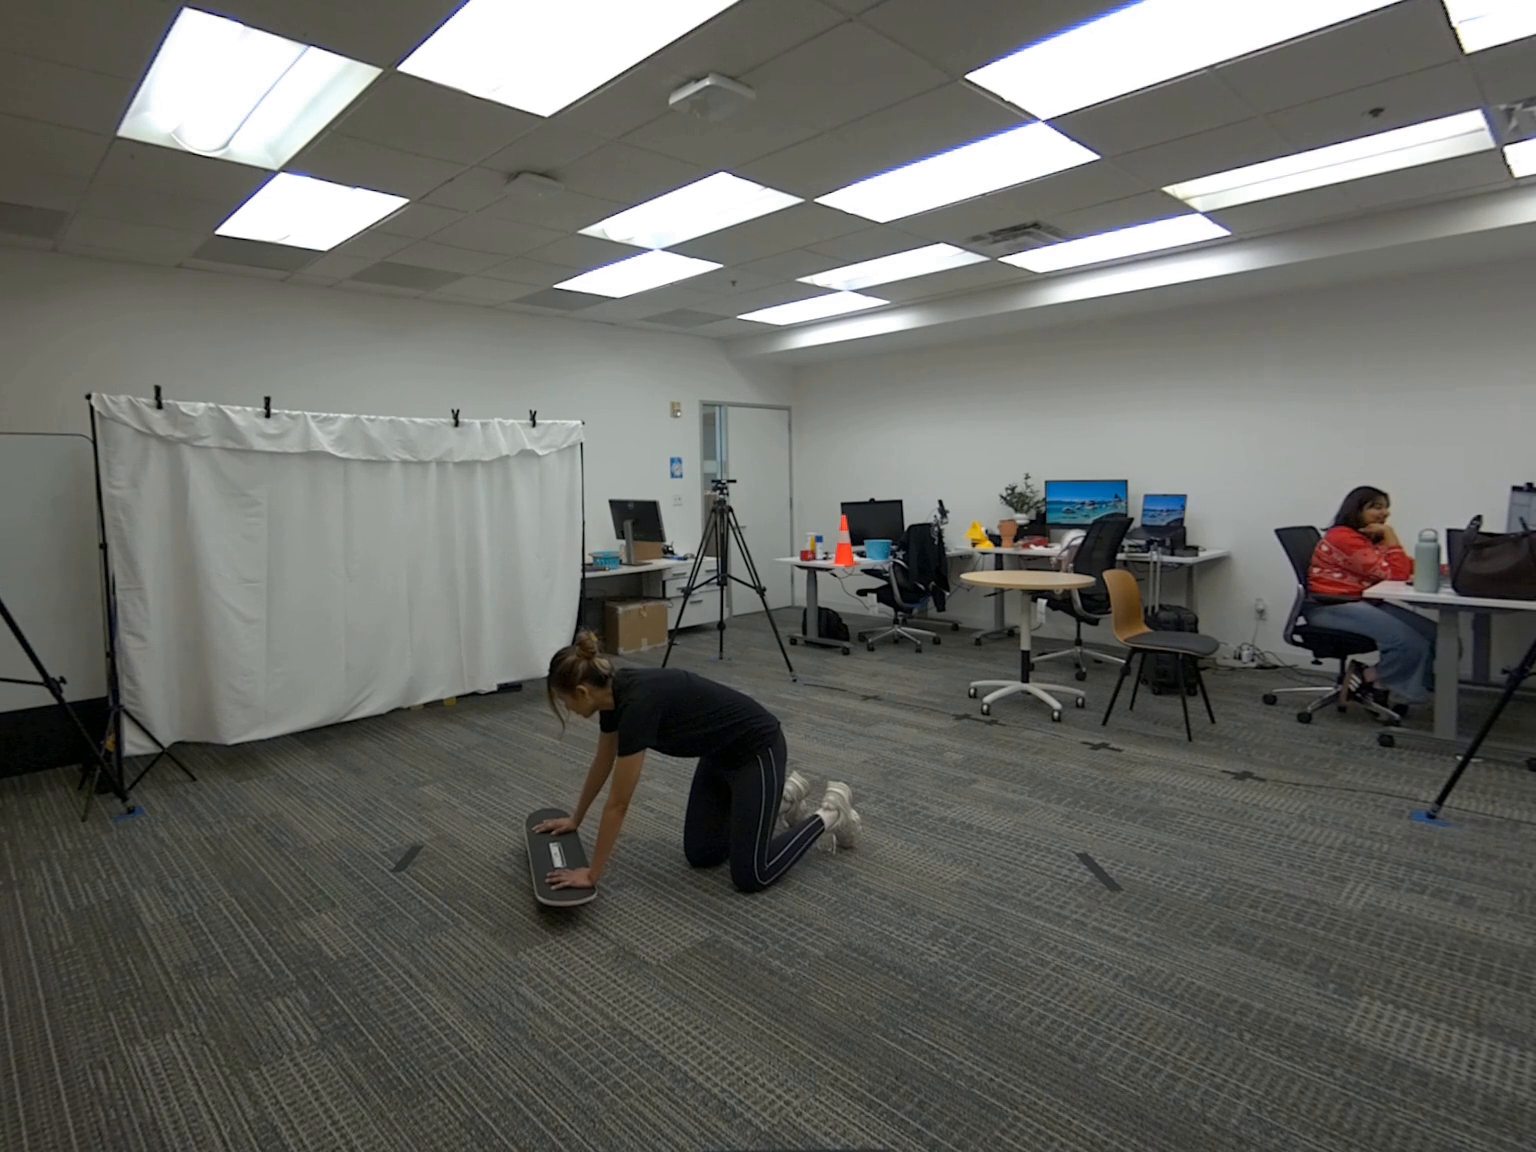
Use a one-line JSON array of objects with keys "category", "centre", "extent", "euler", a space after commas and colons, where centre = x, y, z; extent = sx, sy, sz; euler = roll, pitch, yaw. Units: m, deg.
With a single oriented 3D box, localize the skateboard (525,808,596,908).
[{"category": "skateboard", "centre": [-0.737, 1.012, 3.017], "extent": [0.190, 0.110, 0.802], "euler": [-1, 6, -19]}]
